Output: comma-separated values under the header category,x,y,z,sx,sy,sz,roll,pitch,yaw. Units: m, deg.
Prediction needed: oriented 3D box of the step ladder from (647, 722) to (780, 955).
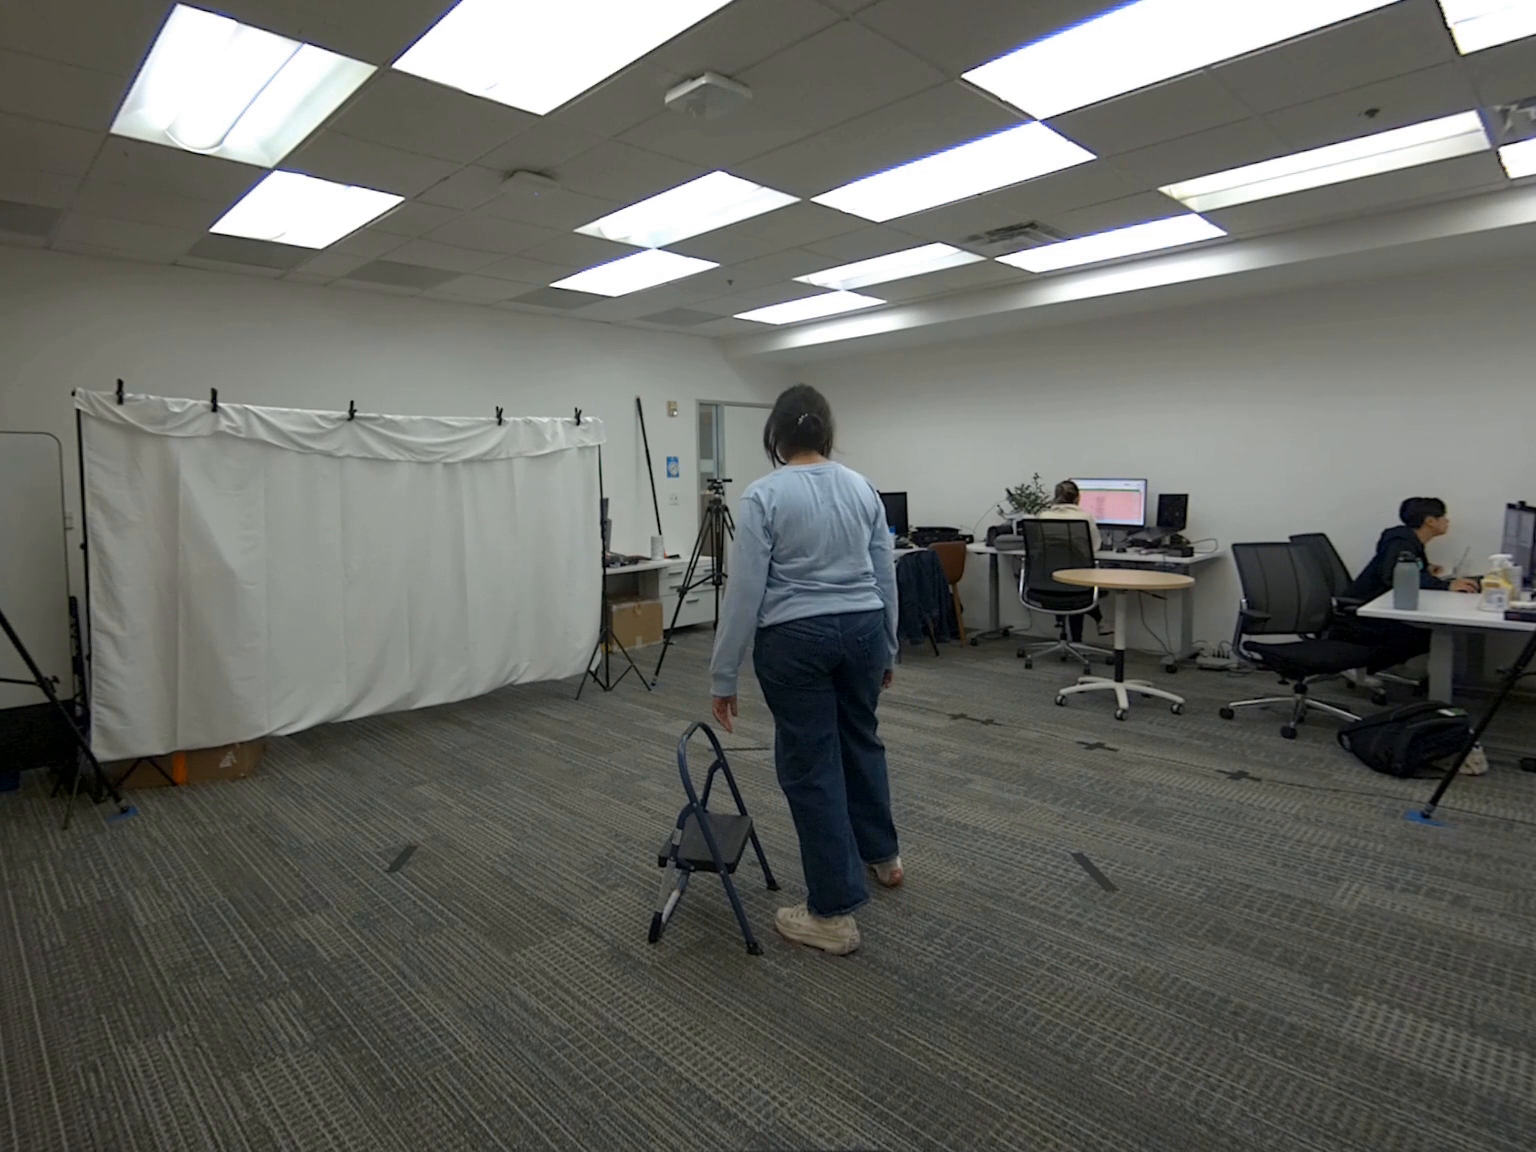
category,x,y,z,sx,sy,sz,roll,pitch,yaw
step ladder,-0.166,0.789,2.728,0.353,0.603,0.428,0,5,10
